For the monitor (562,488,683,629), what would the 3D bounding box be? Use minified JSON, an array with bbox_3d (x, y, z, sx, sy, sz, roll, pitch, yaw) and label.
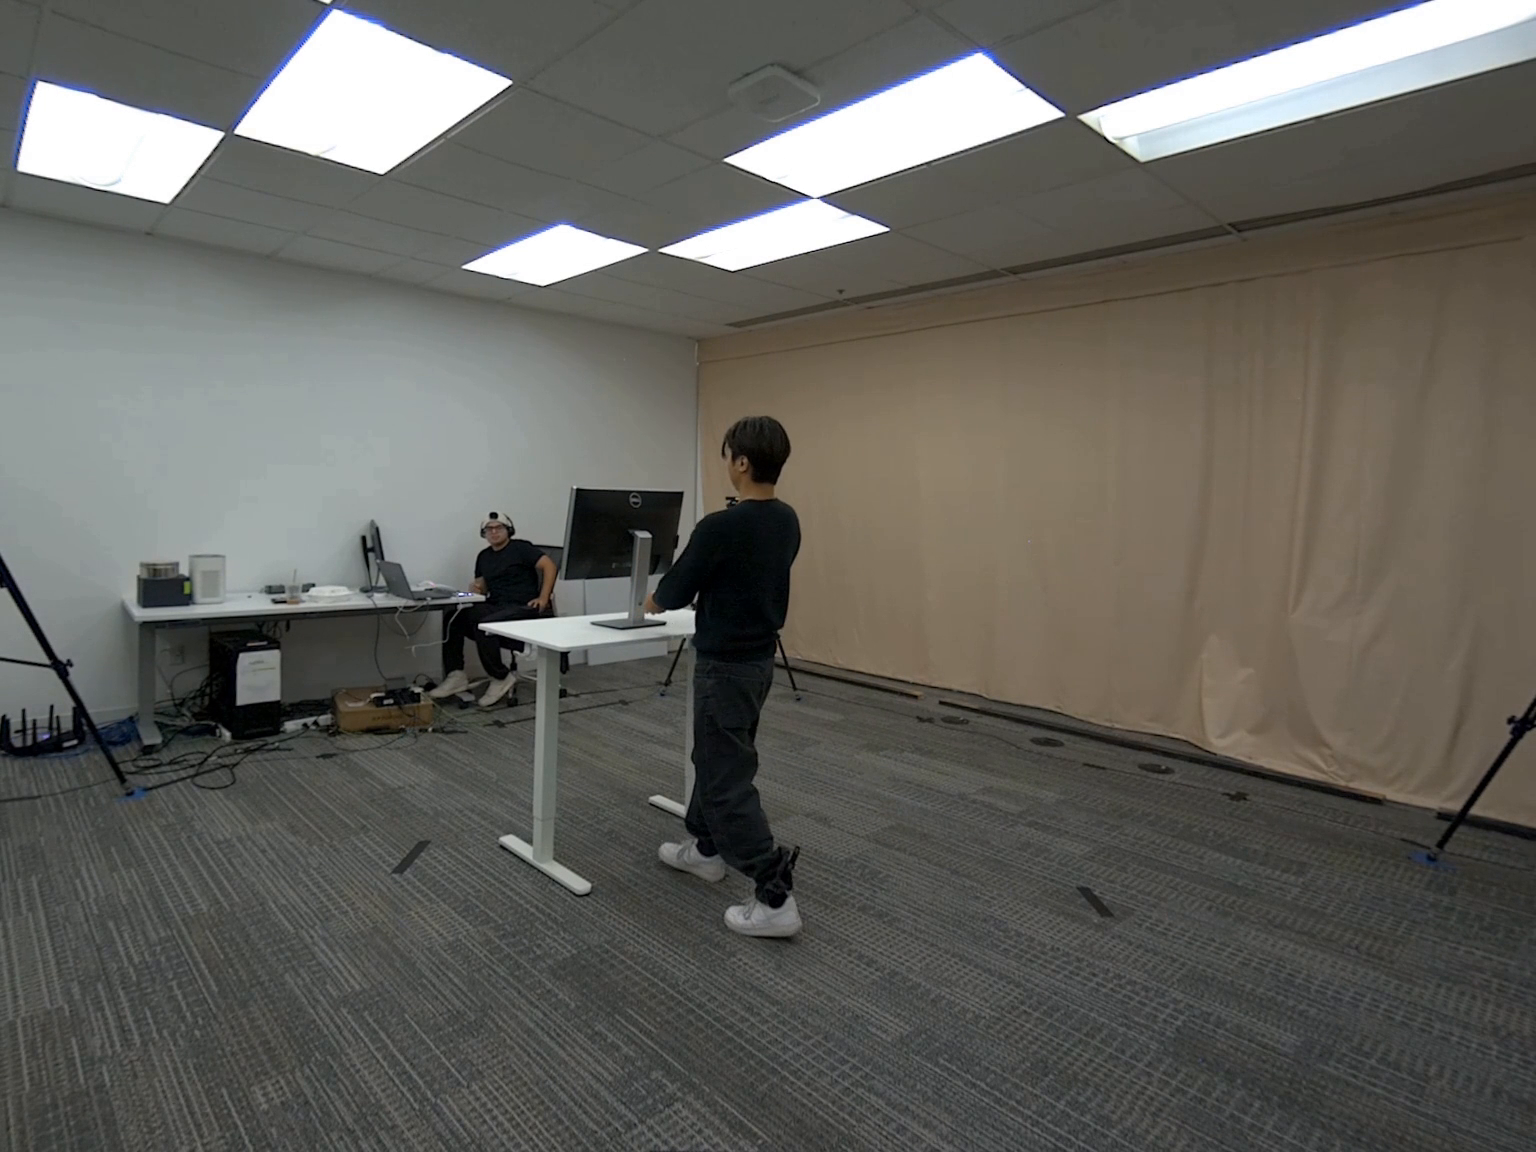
[{"bbox_3d":[-0.553,-0.072,3.328,0.191,0.522,0.527,2,3,39],"label":"monitor"}]
